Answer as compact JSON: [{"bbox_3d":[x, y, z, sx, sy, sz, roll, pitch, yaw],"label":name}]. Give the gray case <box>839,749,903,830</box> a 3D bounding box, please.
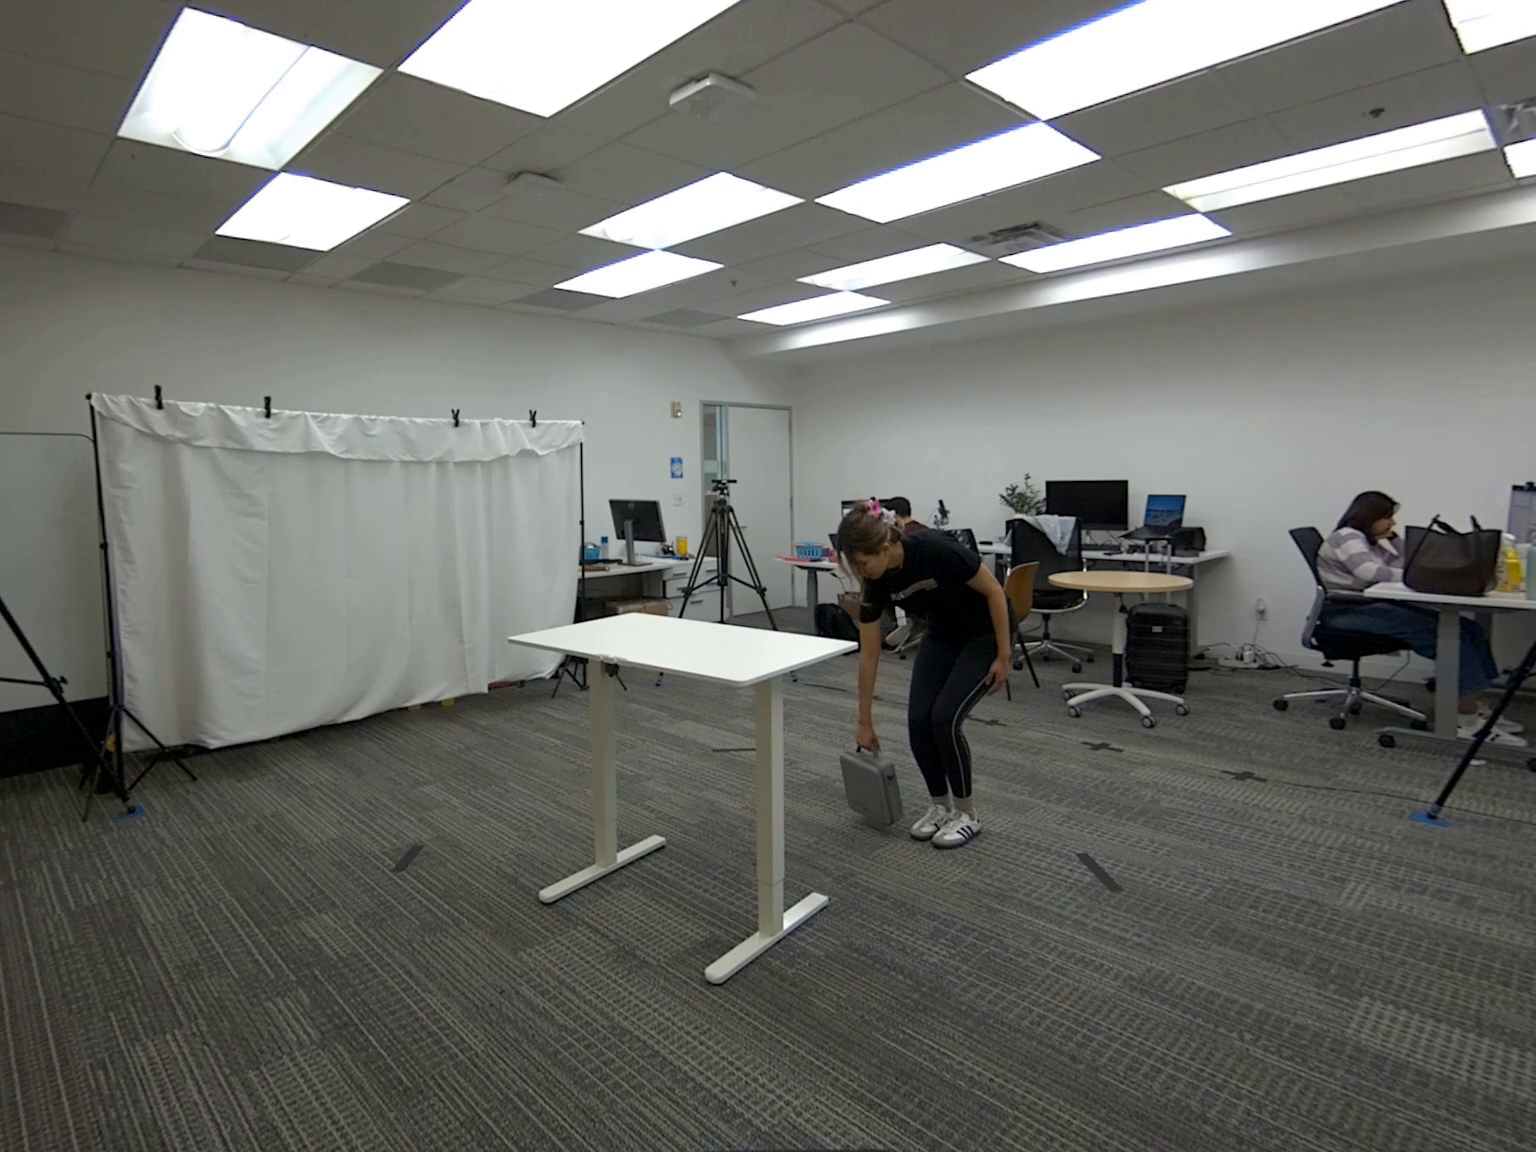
[{"bbox_3d":[0.413,0.829,3.411,0.102,0.258,0.264,-15,11,-27],"label":"gray case"}]
